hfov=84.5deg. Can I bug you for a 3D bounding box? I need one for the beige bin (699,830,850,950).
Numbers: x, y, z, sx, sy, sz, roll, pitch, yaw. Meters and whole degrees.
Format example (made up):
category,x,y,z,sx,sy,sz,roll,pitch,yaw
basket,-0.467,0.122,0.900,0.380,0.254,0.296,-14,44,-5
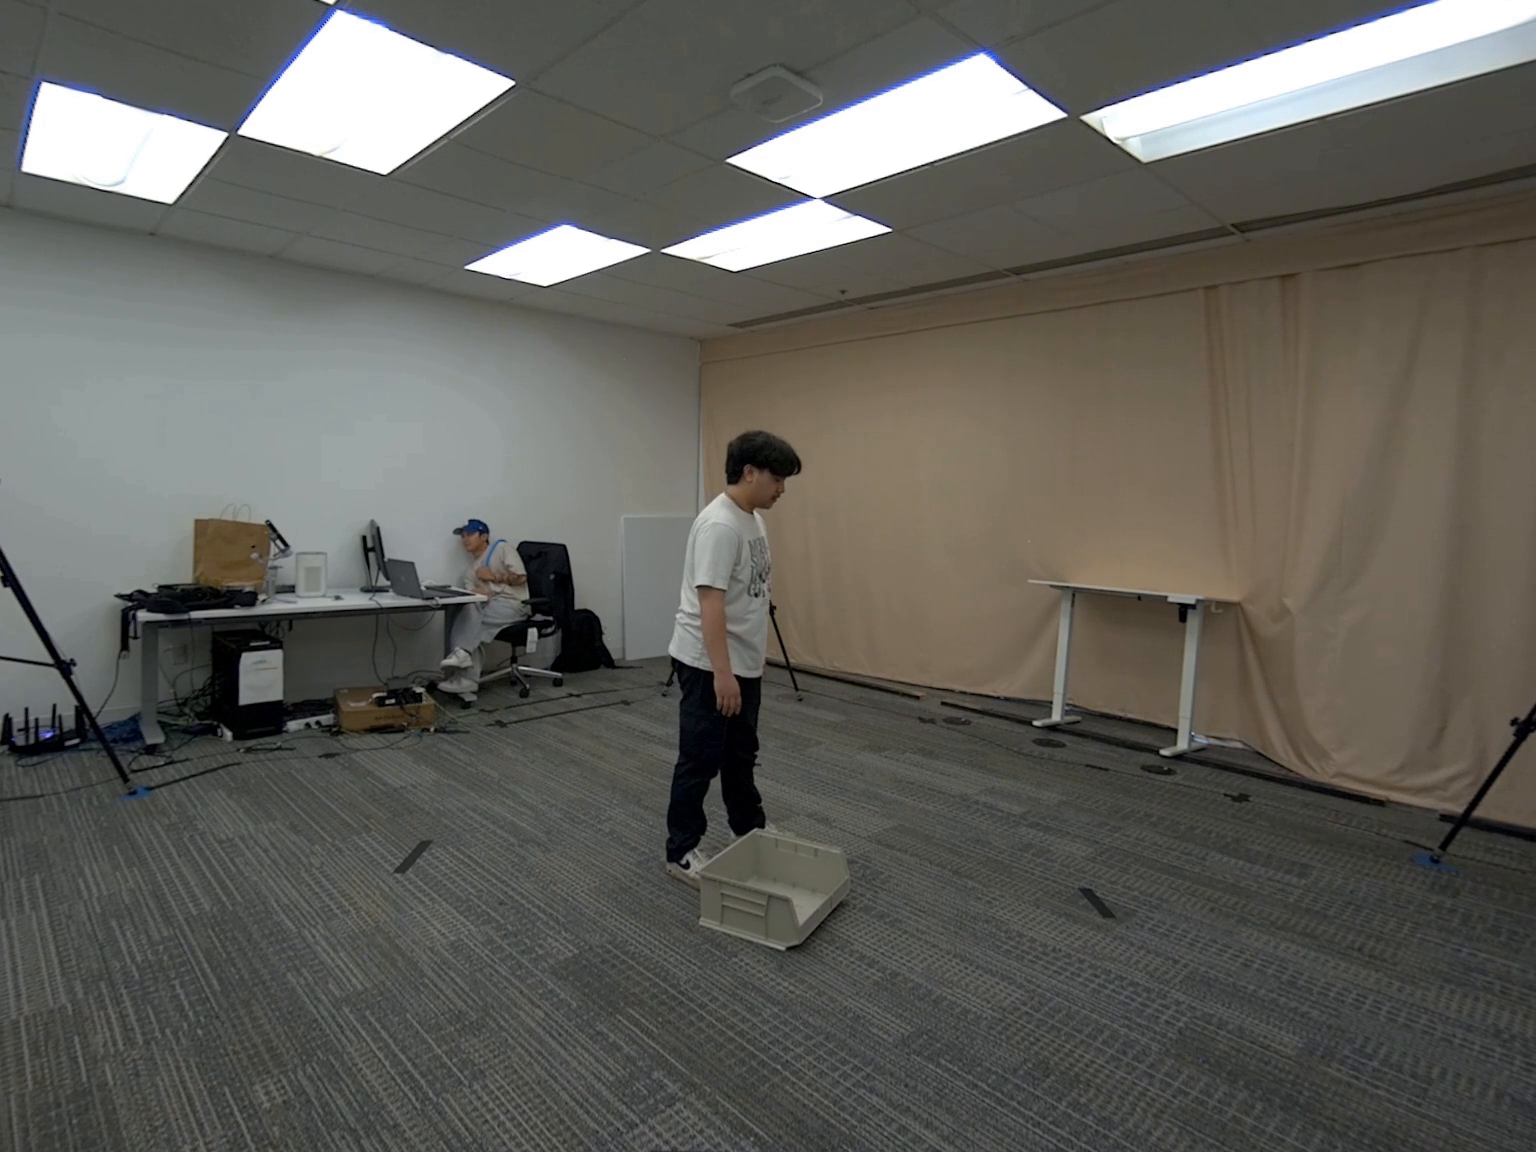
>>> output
category,x,y,z,sx,sy,sz,roll,pitch,yaw
beige bin,0.020,1.048,2.831,0.385,0.188,0.415,3,6,28
